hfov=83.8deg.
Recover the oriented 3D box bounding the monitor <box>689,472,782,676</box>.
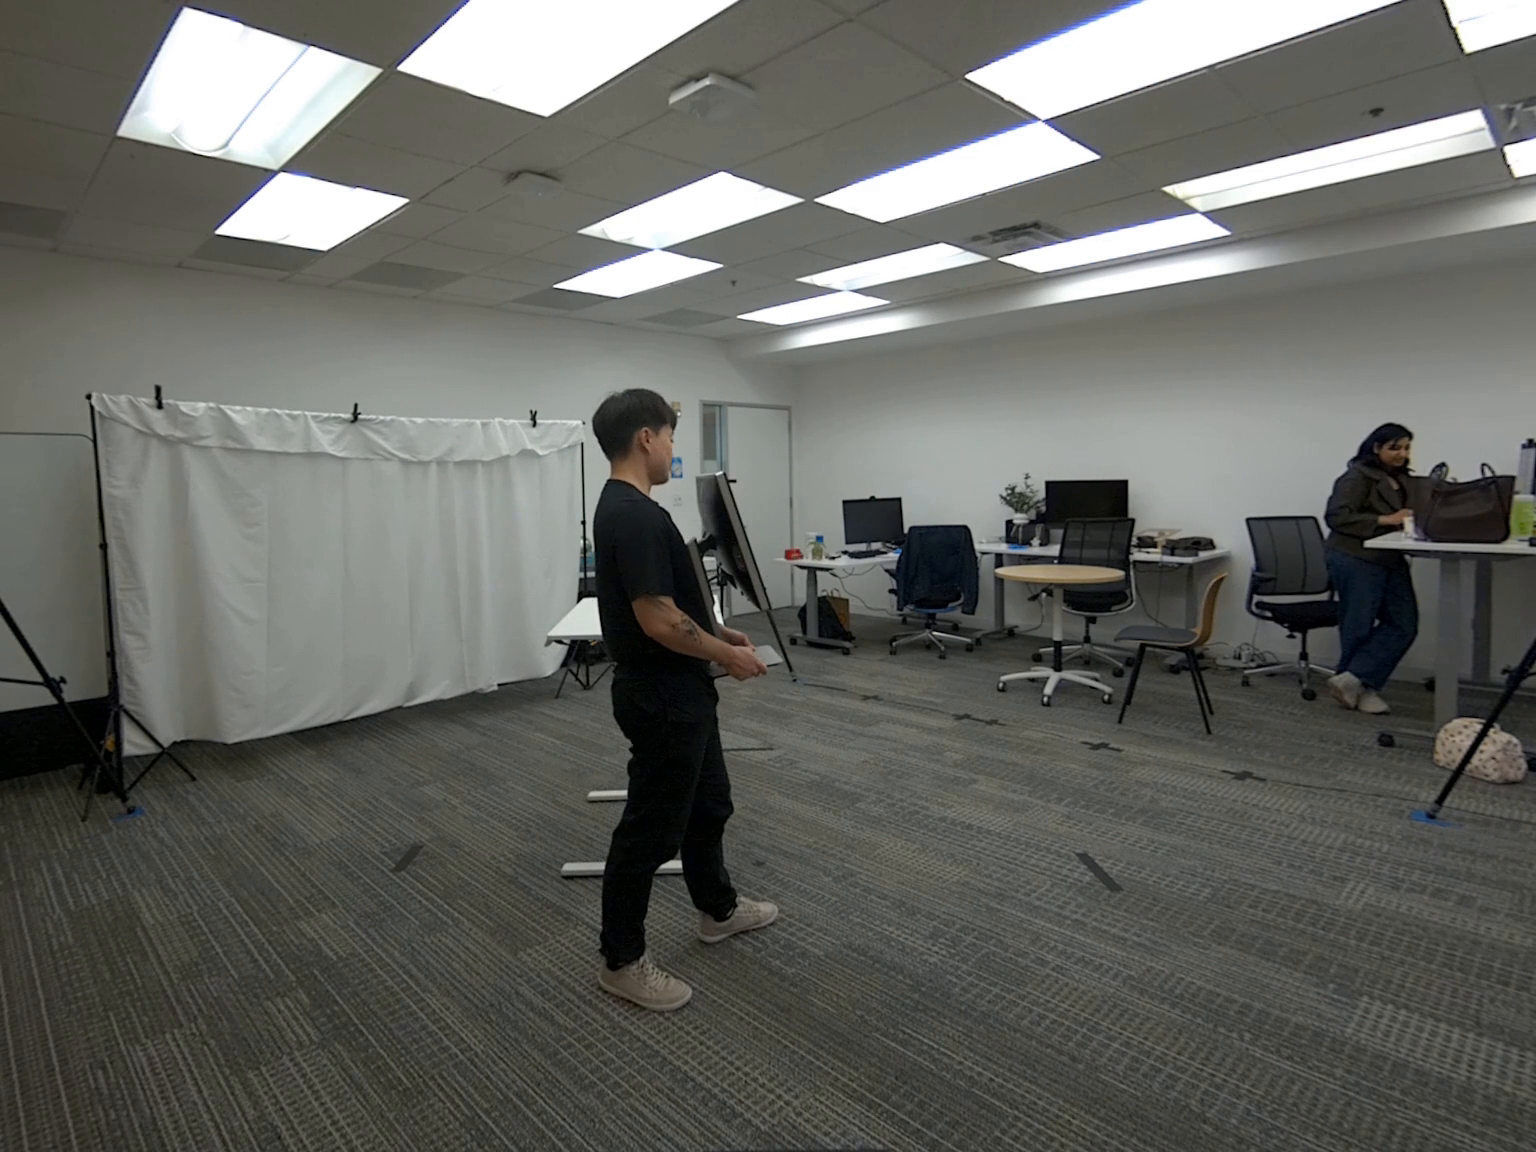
[{"bbox_3d":[-0.125,-0.018,2.376,0.185,0.520,0.546,-8,6,-11],"label":"monitor"}]
